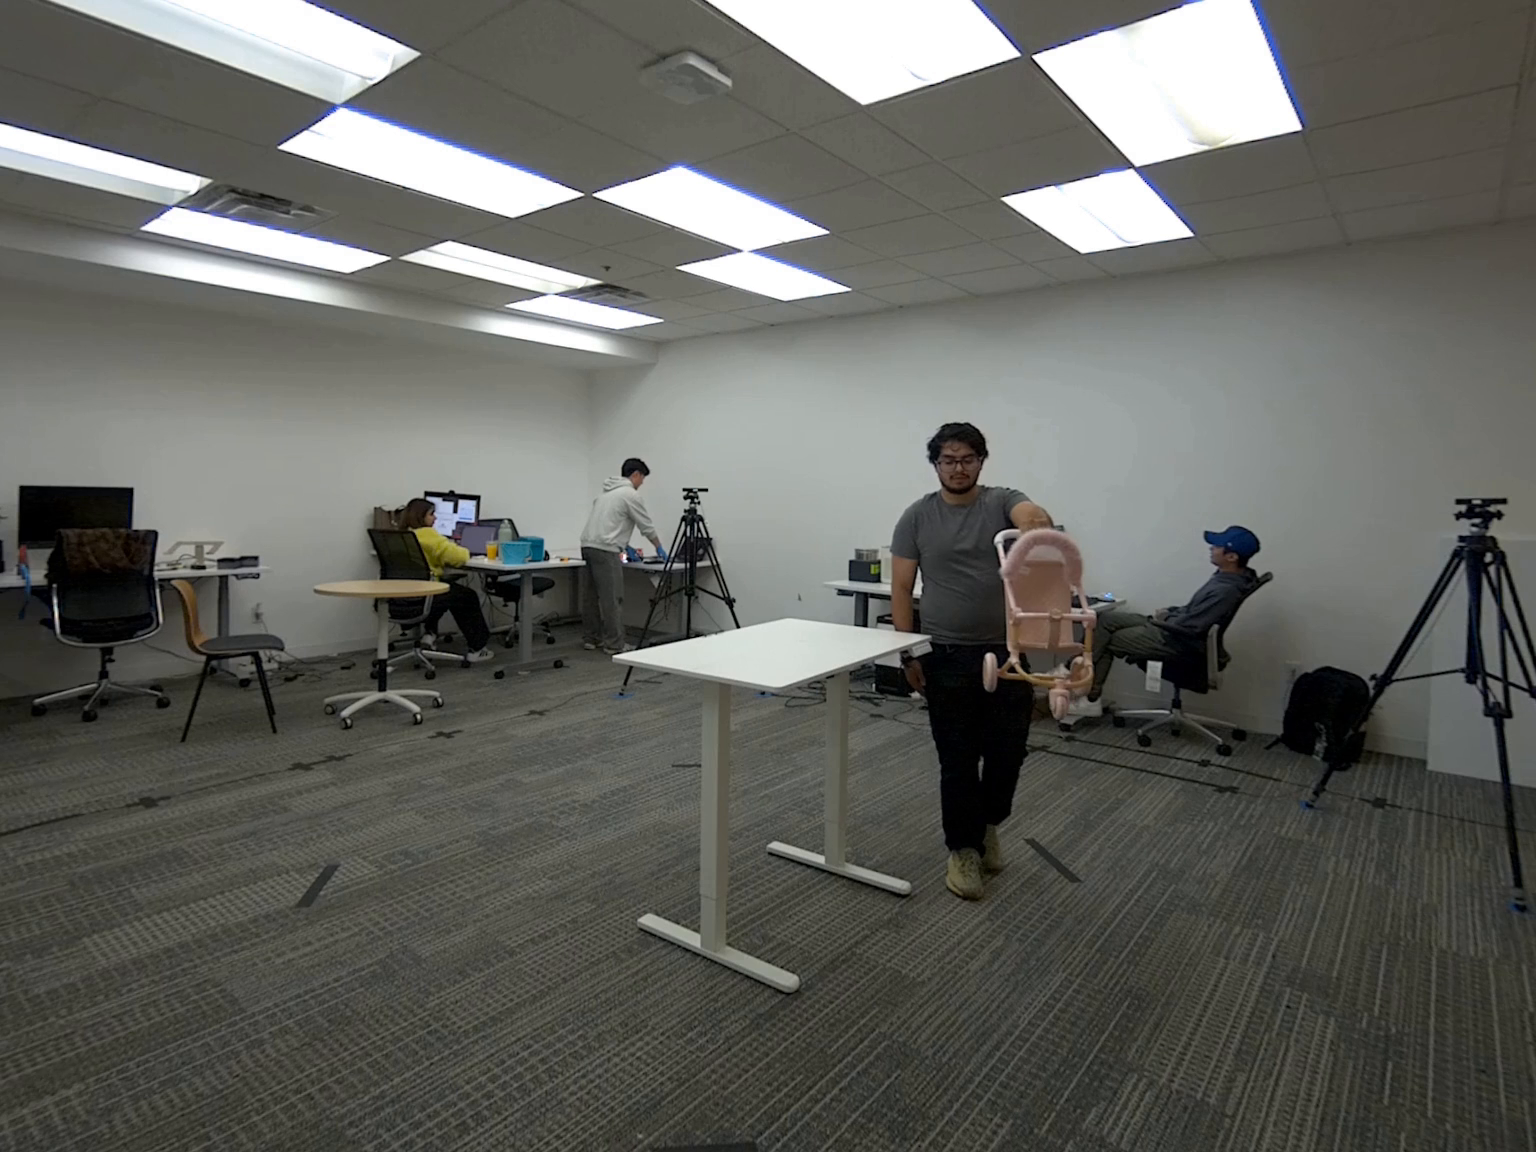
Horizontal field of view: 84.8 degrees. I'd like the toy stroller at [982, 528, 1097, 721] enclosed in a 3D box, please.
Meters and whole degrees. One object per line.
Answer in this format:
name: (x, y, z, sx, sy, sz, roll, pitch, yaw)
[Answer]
toy stroller: (0.743, 0.110, 2.316, 0.285, 0.539, 0.335, 1, -8, 10)
